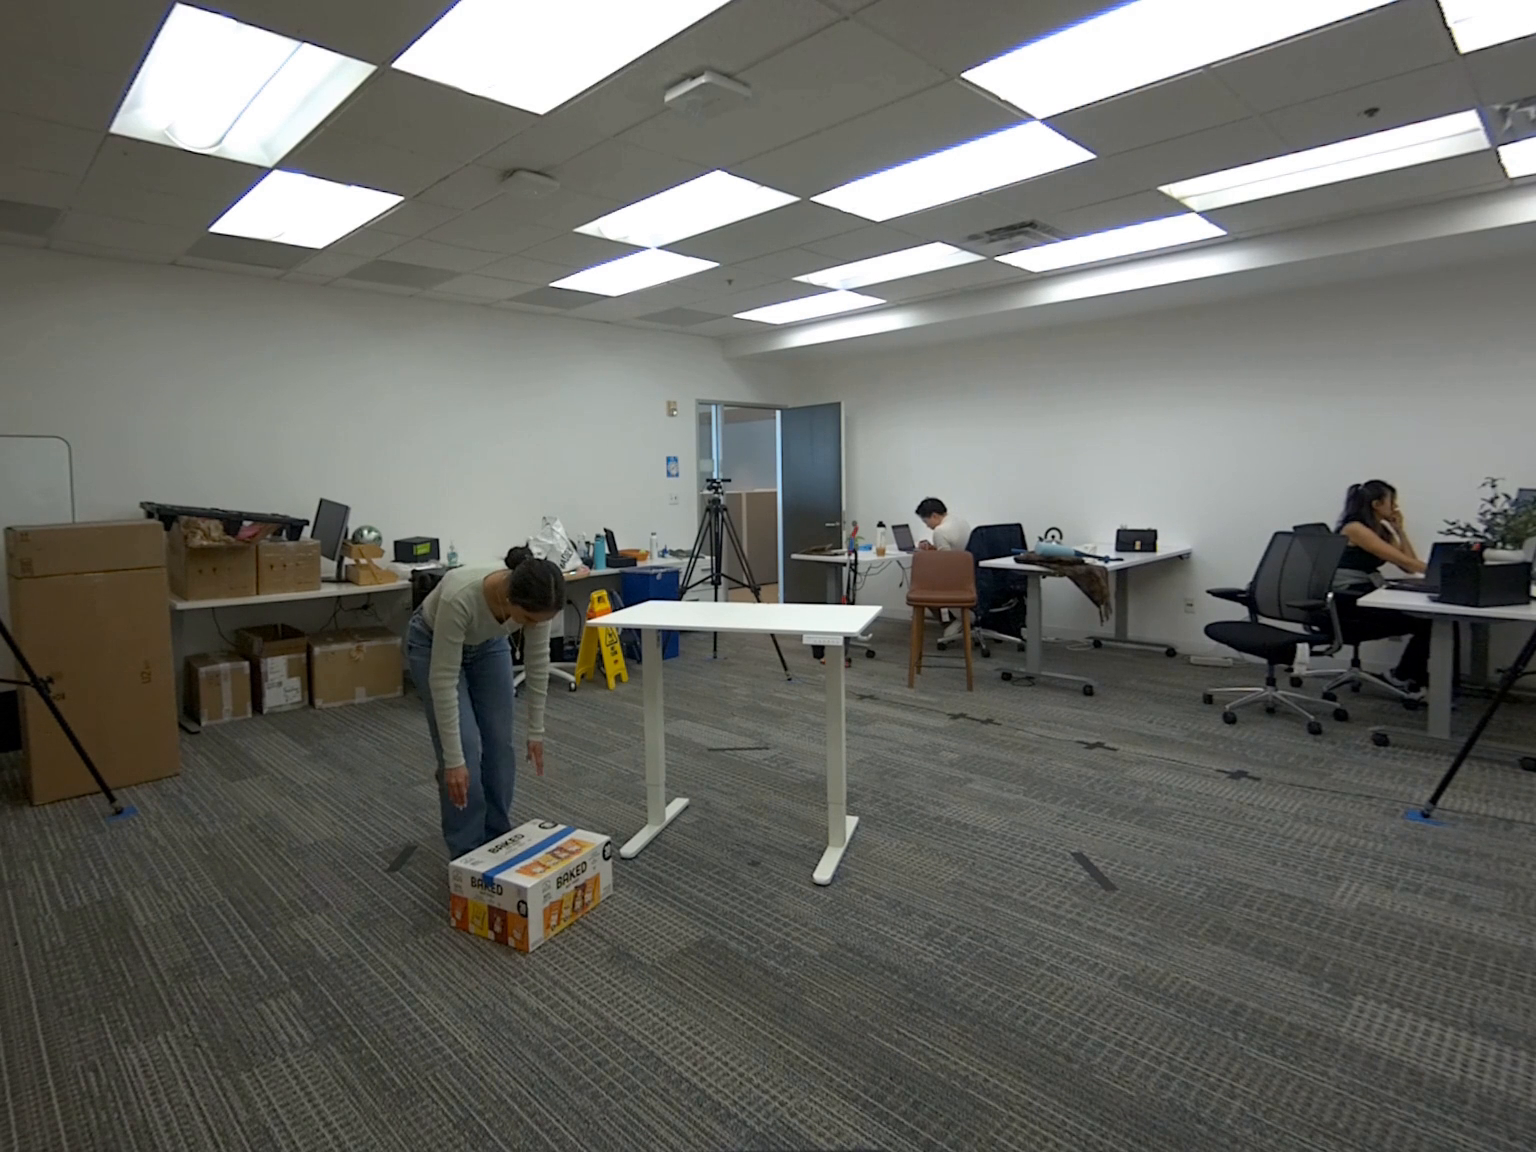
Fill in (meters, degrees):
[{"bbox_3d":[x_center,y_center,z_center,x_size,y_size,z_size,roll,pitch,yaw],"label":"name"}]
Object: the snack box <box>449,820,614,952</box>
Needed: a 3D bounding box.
[{"bbox_3d":[-0.766,0.994,2.788,0.349,0.205,0.397,2,7,29],"label":"snack box"}]
